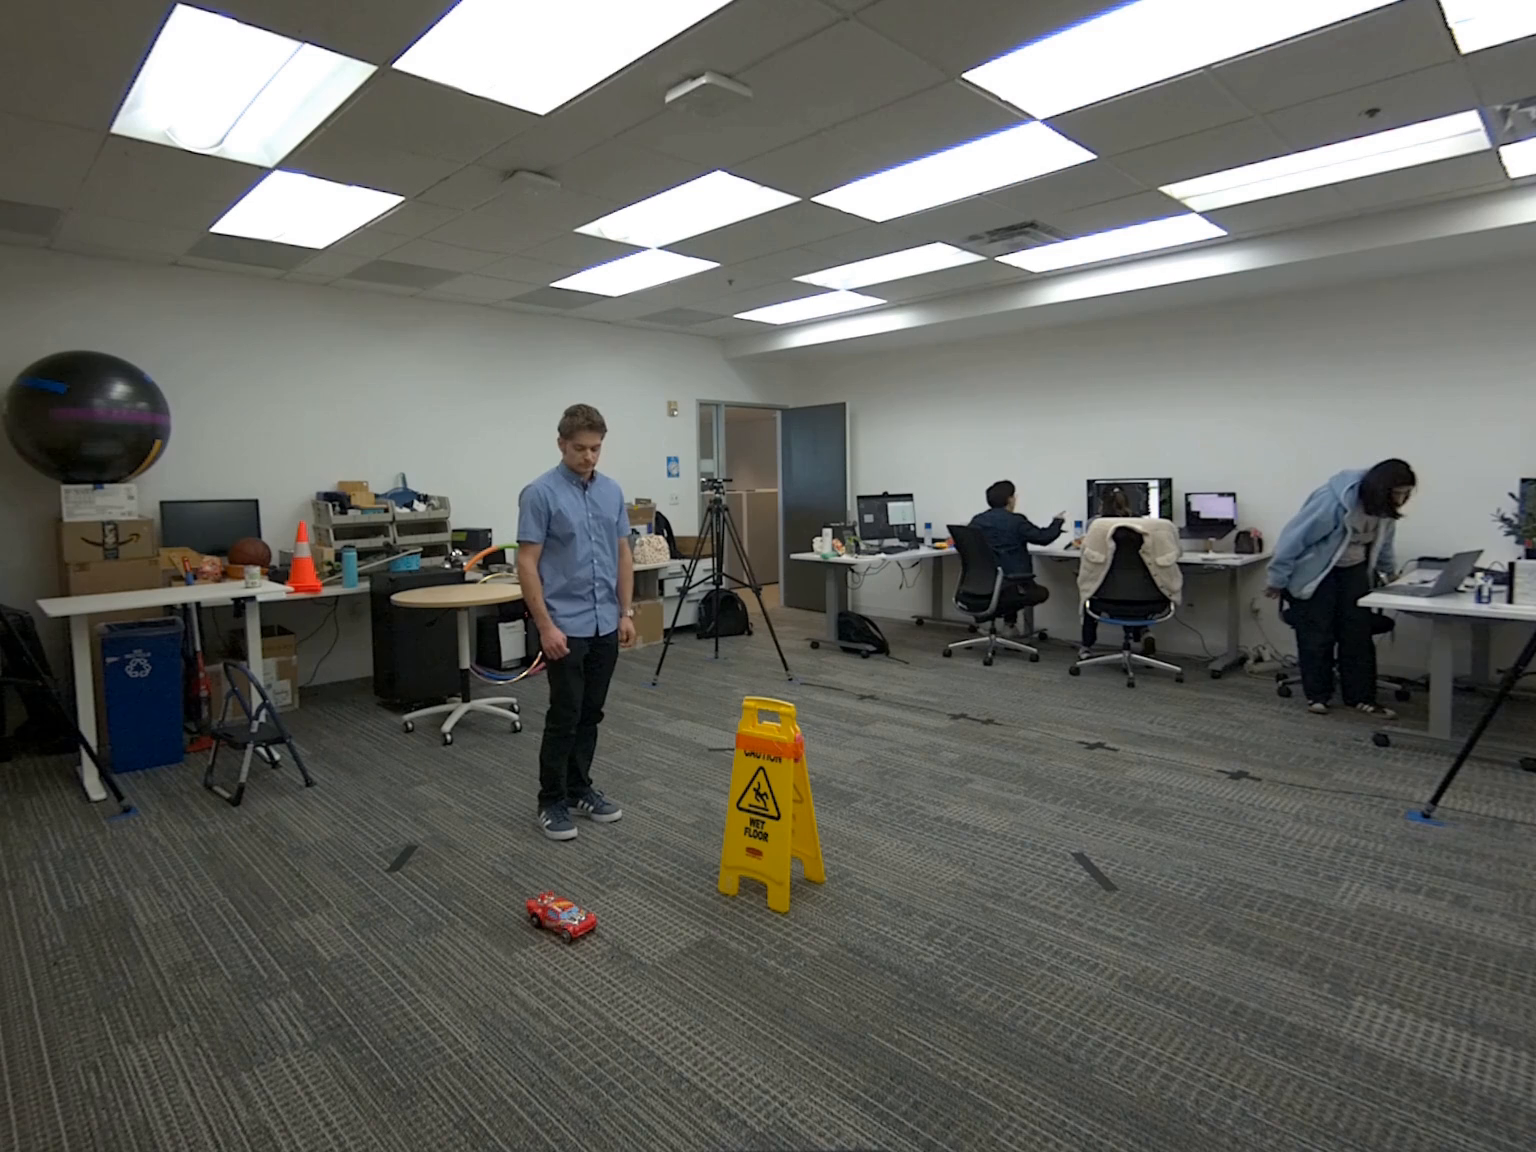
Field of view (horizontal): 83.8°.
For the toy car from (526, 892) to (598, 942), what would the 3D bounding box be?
[{"bbox_3d":[-0.655,1.073,2.692,0.263,0.082,0.127,17,16,37],"label":"toy car"}]
